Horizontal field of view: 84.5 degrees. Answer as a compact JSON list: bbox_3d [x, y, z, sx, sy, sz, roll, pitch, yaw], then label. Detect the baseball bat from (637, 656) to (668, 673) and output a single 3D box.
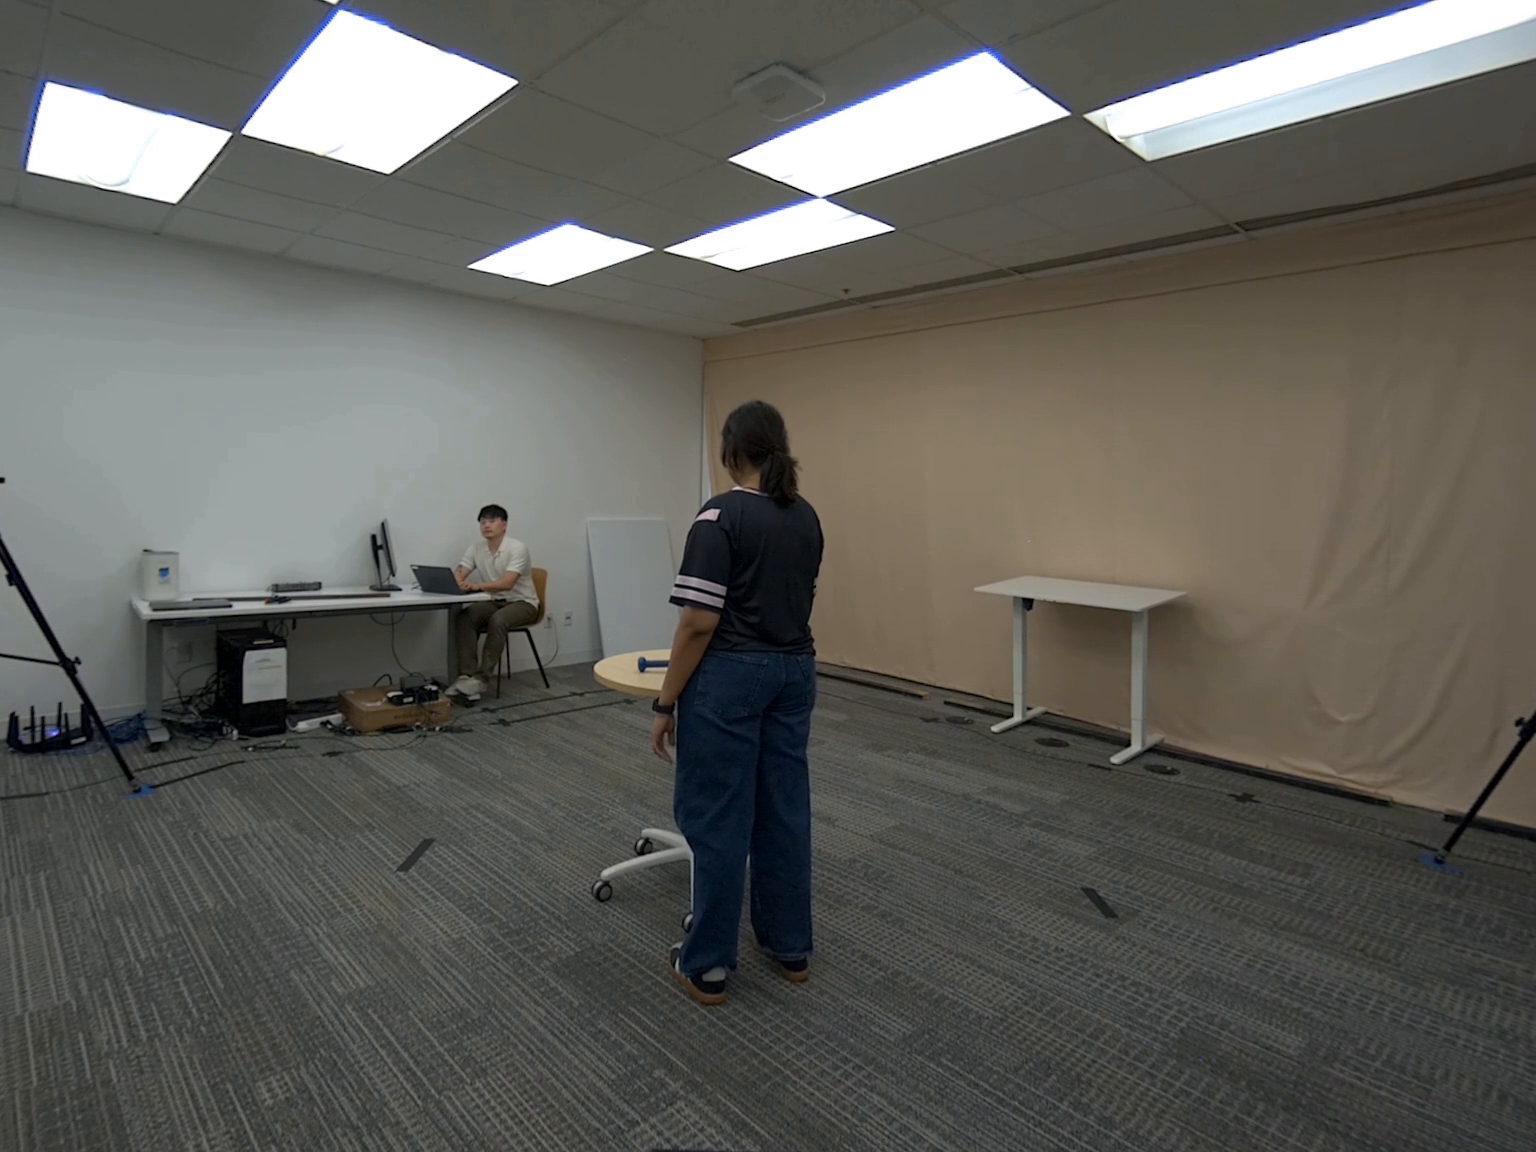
[{"bbox_3d":[-0.178,0.307,2.889,0.541,0.089,0.089,-1,4,-4],"label":"baseball bat"}]
